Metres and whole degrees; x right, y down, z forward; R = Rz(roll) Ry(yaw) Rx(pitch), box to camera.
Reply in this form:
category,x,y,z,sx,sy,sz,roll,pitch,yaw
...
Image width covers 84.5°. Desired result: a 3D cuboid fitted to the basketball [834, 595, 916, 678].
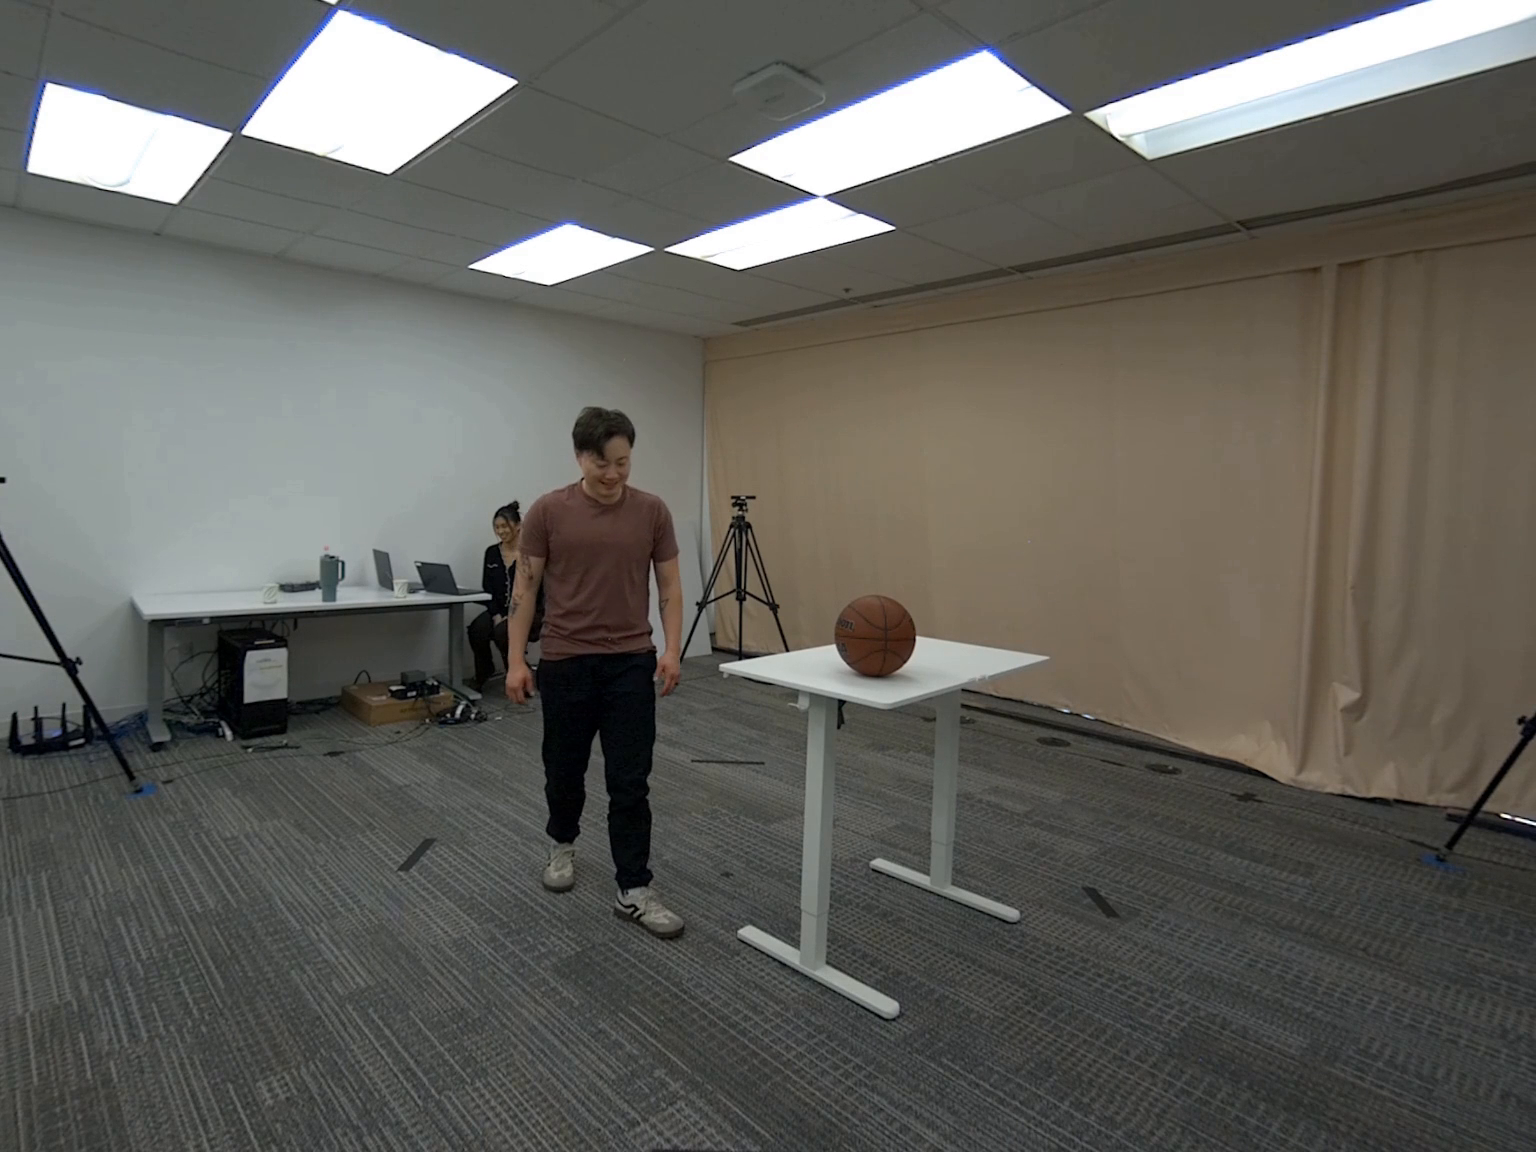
category,x,y,z,sx,sy,sz,roll,pitch,yaw
basketball,0.309,0.176,2.456,0.236,0.235,0.237,1,4,-1
